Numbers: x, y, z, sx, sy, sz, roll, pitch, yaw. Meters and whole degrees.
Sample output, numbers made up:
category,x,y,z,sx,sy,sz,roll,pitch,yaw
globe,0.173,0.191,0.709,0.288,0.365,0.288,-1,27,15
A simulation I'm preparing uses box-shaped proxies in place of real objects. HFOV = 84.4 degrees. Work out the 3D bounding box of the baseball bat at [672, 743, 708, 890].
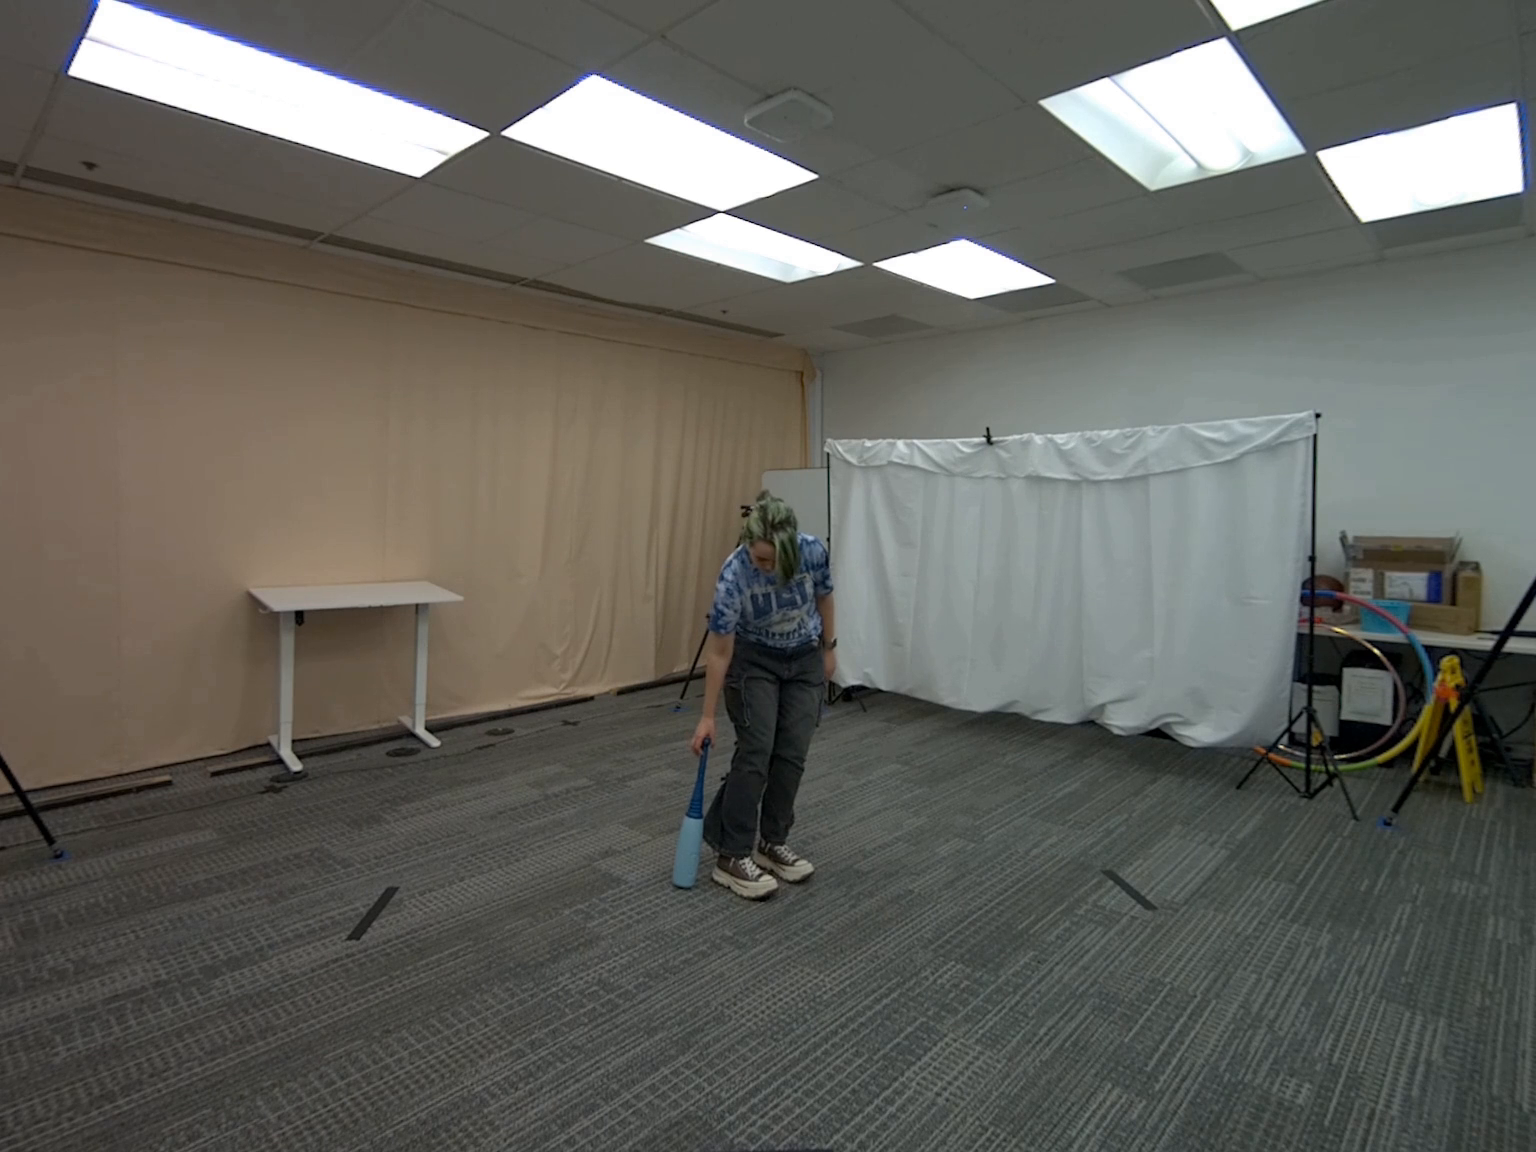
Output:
category,x,y,z,sx,sy,sz,roll,pitch,yaw
baseball bat,-0.267,0.876,3.108,0.089,0.544,0.089,9,-3,-2
